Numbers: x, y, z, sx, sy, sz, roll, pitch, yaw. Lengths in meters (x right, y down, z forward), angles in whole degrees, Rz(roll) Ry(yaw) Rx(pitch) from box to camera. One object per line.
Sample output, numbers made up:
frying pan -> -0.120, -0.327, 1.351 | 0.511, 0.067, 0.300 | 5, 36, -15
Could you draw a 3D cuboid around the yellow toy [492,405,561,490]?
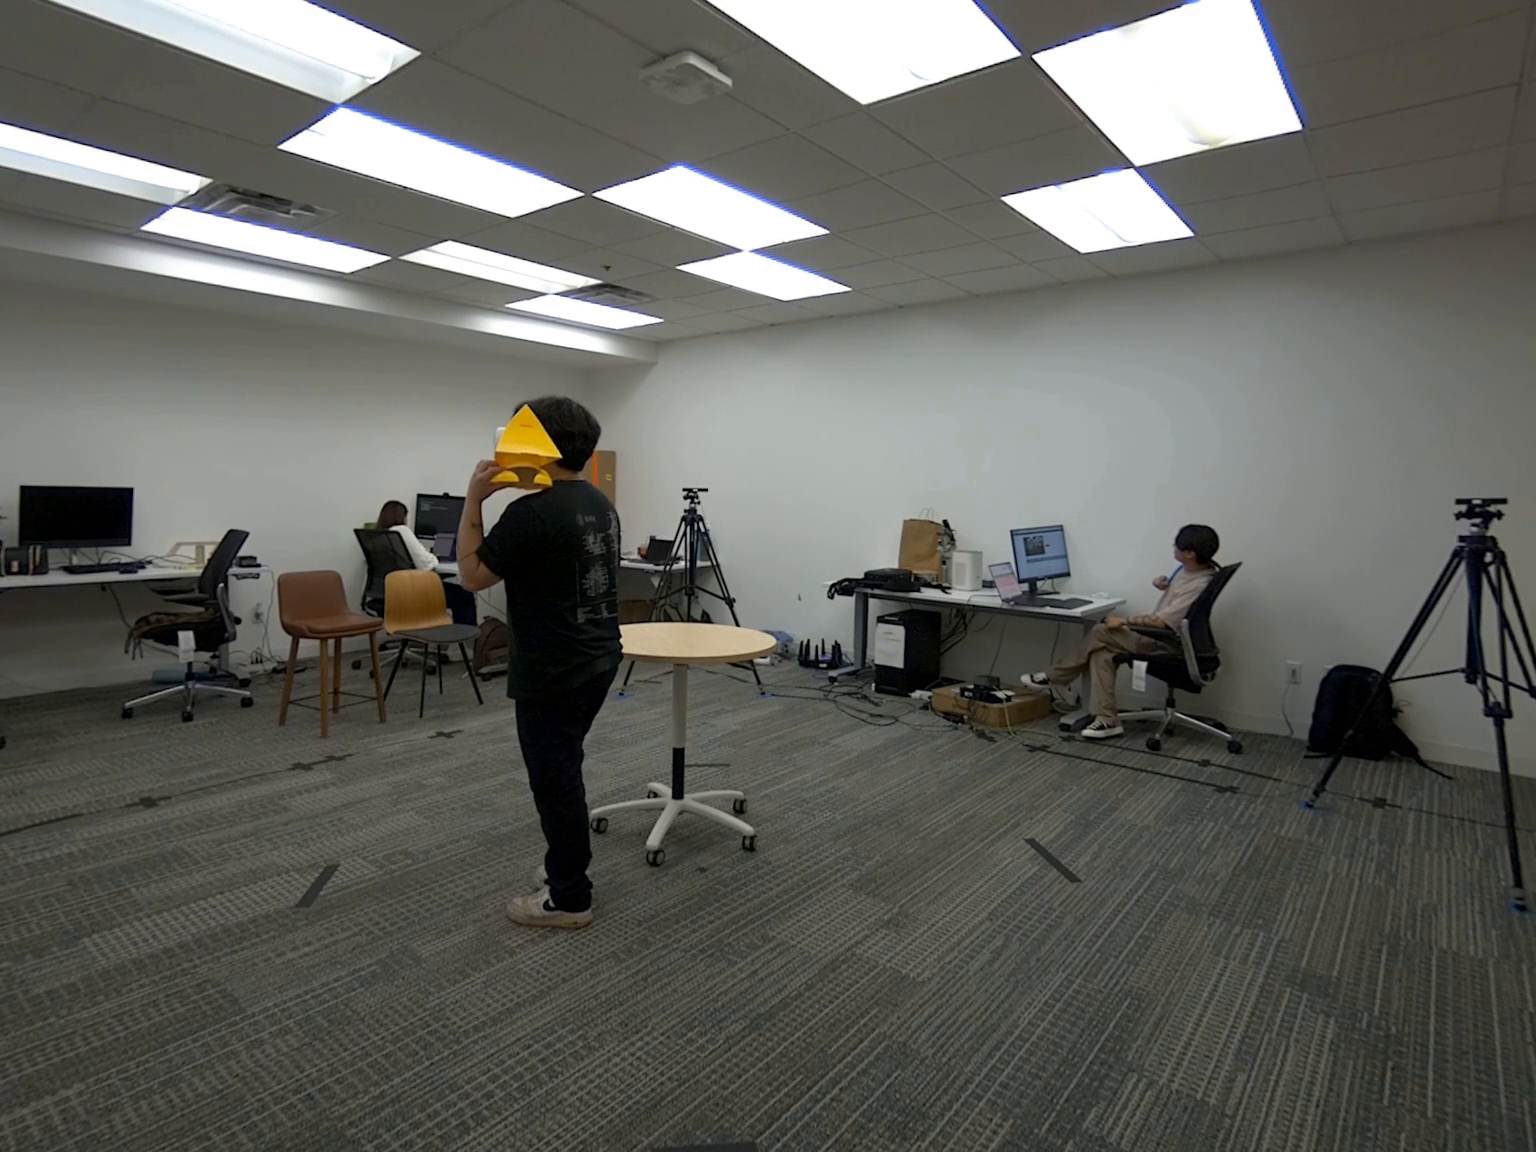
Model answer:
yellow toy -> -0.760, -0.387, 2.522 | 0.198, 0.232, 0.198 | 2, -5, -36
